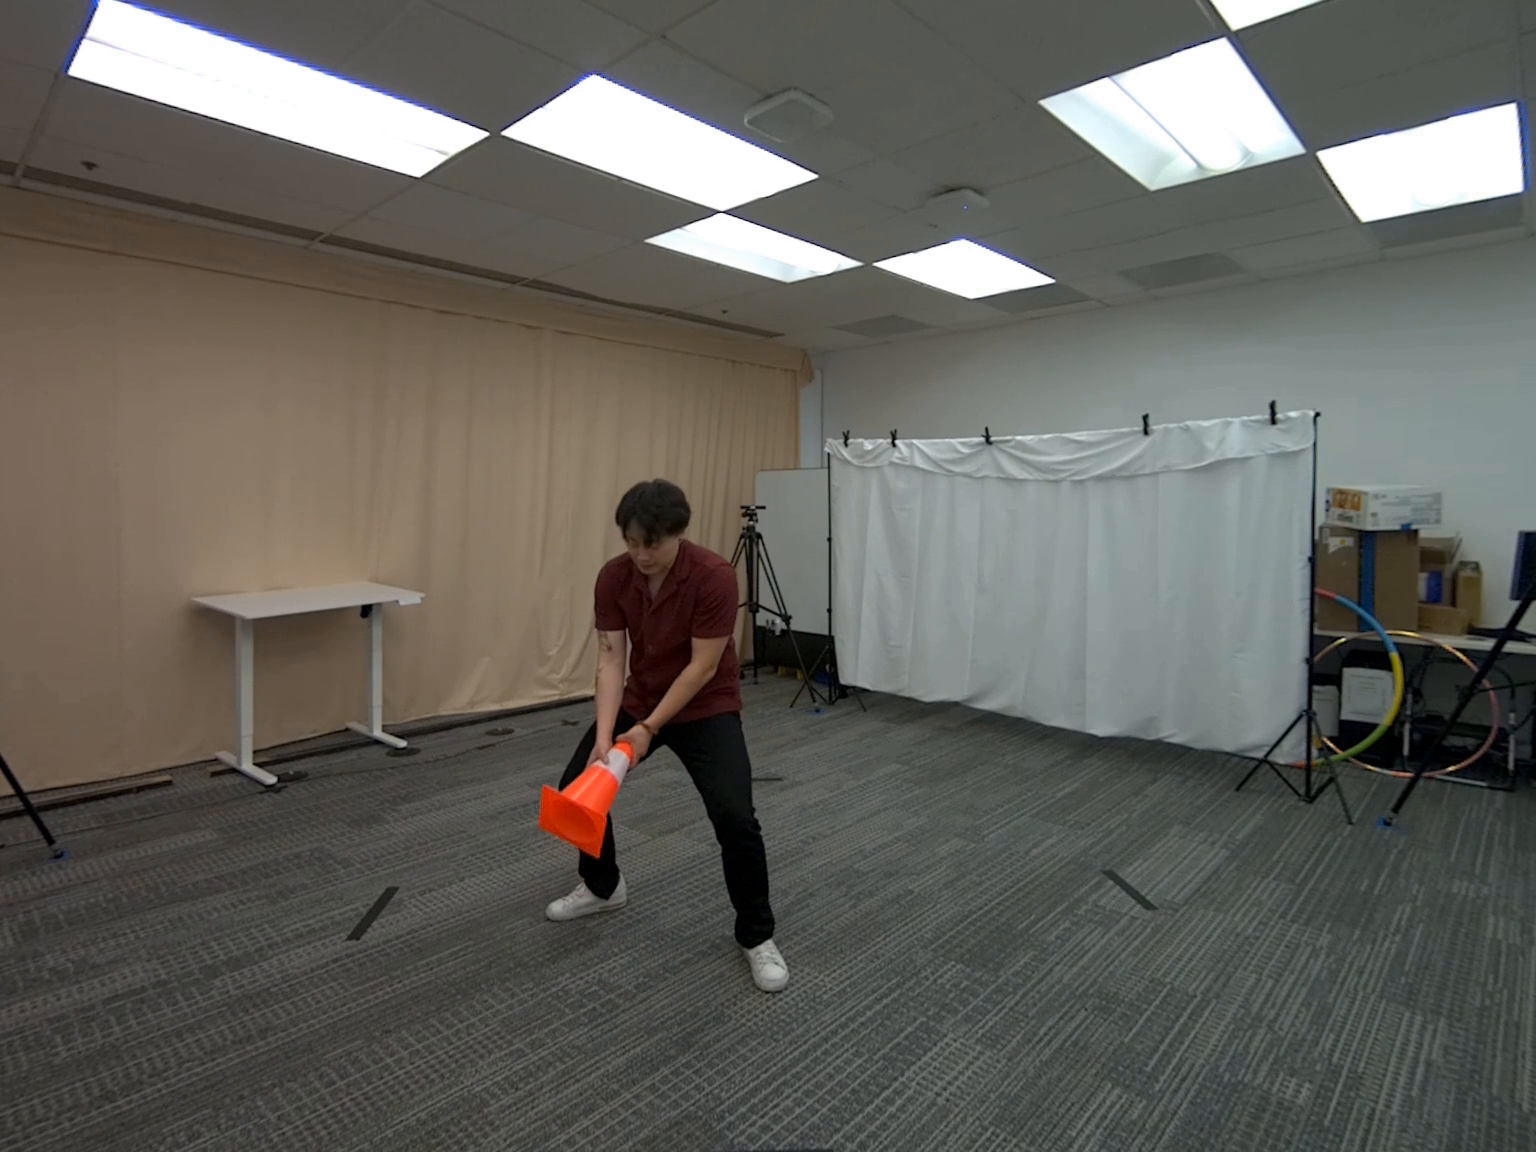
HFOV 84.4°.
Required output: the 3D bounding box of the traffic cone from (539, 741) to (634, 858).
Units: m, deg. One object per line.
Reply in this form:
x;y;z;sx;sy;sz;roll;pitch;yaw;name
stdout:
-0.459;0.568;2.424;0.205;0.203;0.383;24;39;4;traffic cone
